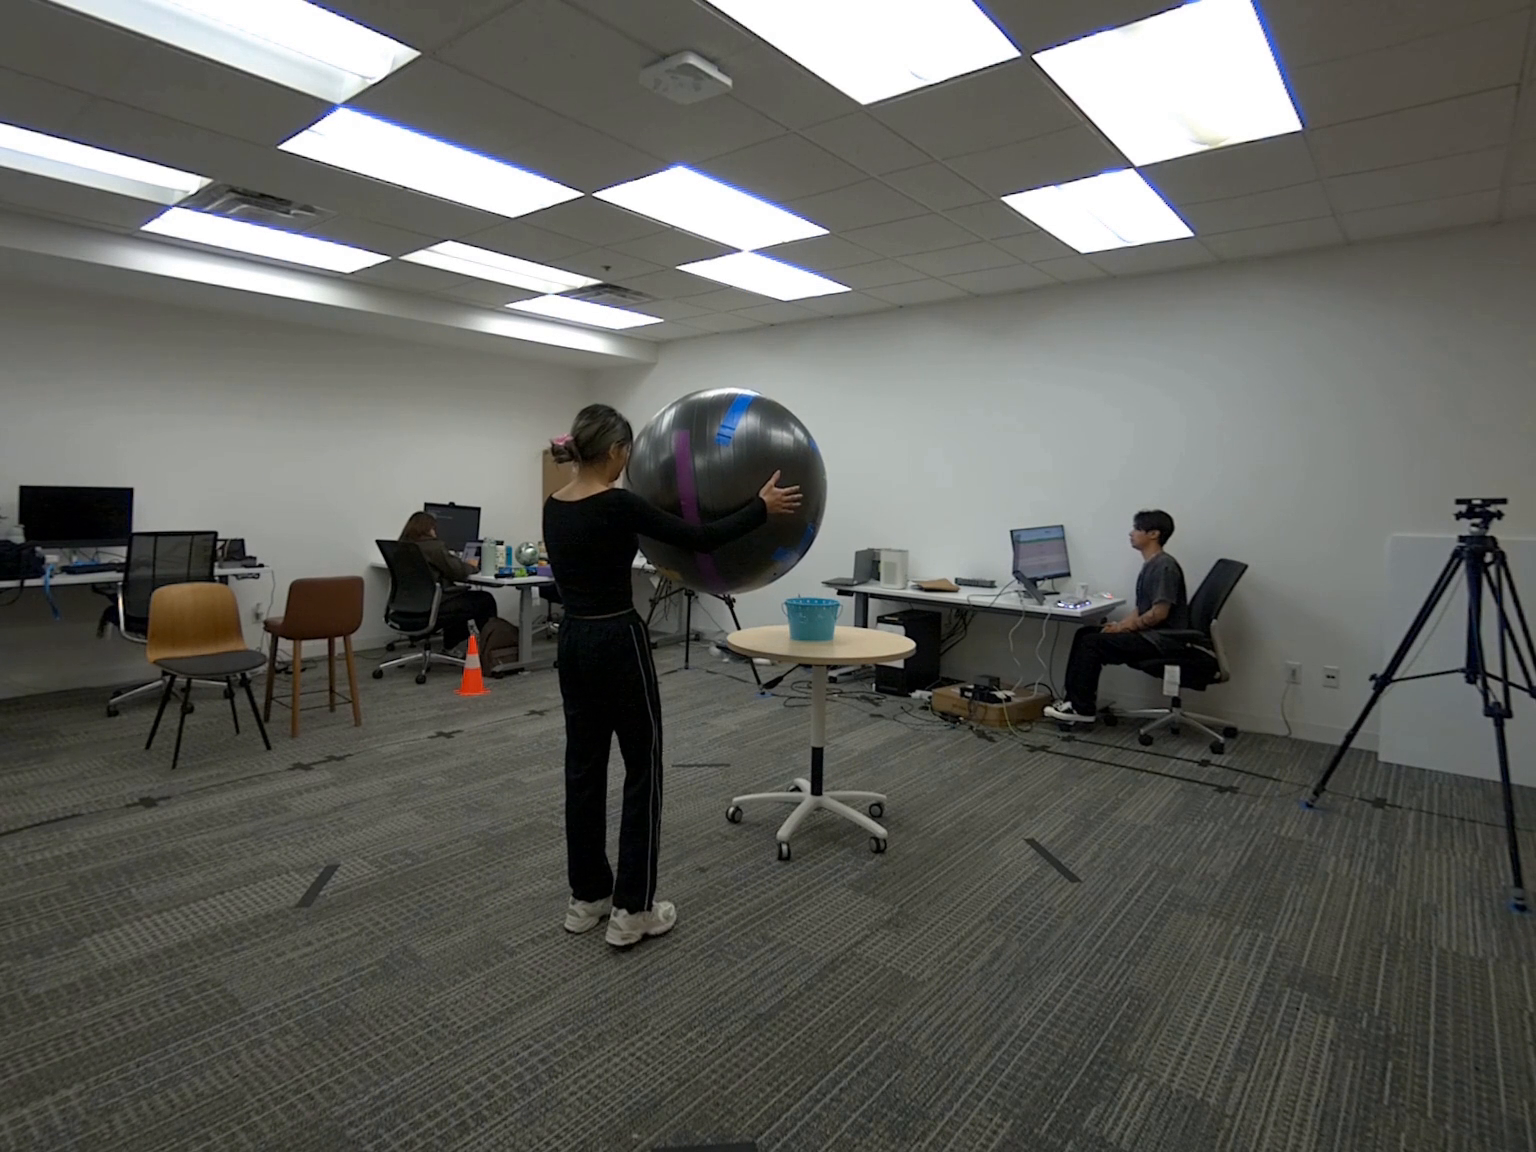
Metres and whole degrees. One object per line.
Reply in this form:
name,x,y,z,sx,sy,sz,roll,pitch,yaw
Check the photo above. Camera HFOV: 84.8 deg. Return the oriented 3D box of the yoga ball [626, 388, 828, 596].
yoga ball,-0.161,-0.306,3.140,0.757,0.756,0.762,1,4,-2
